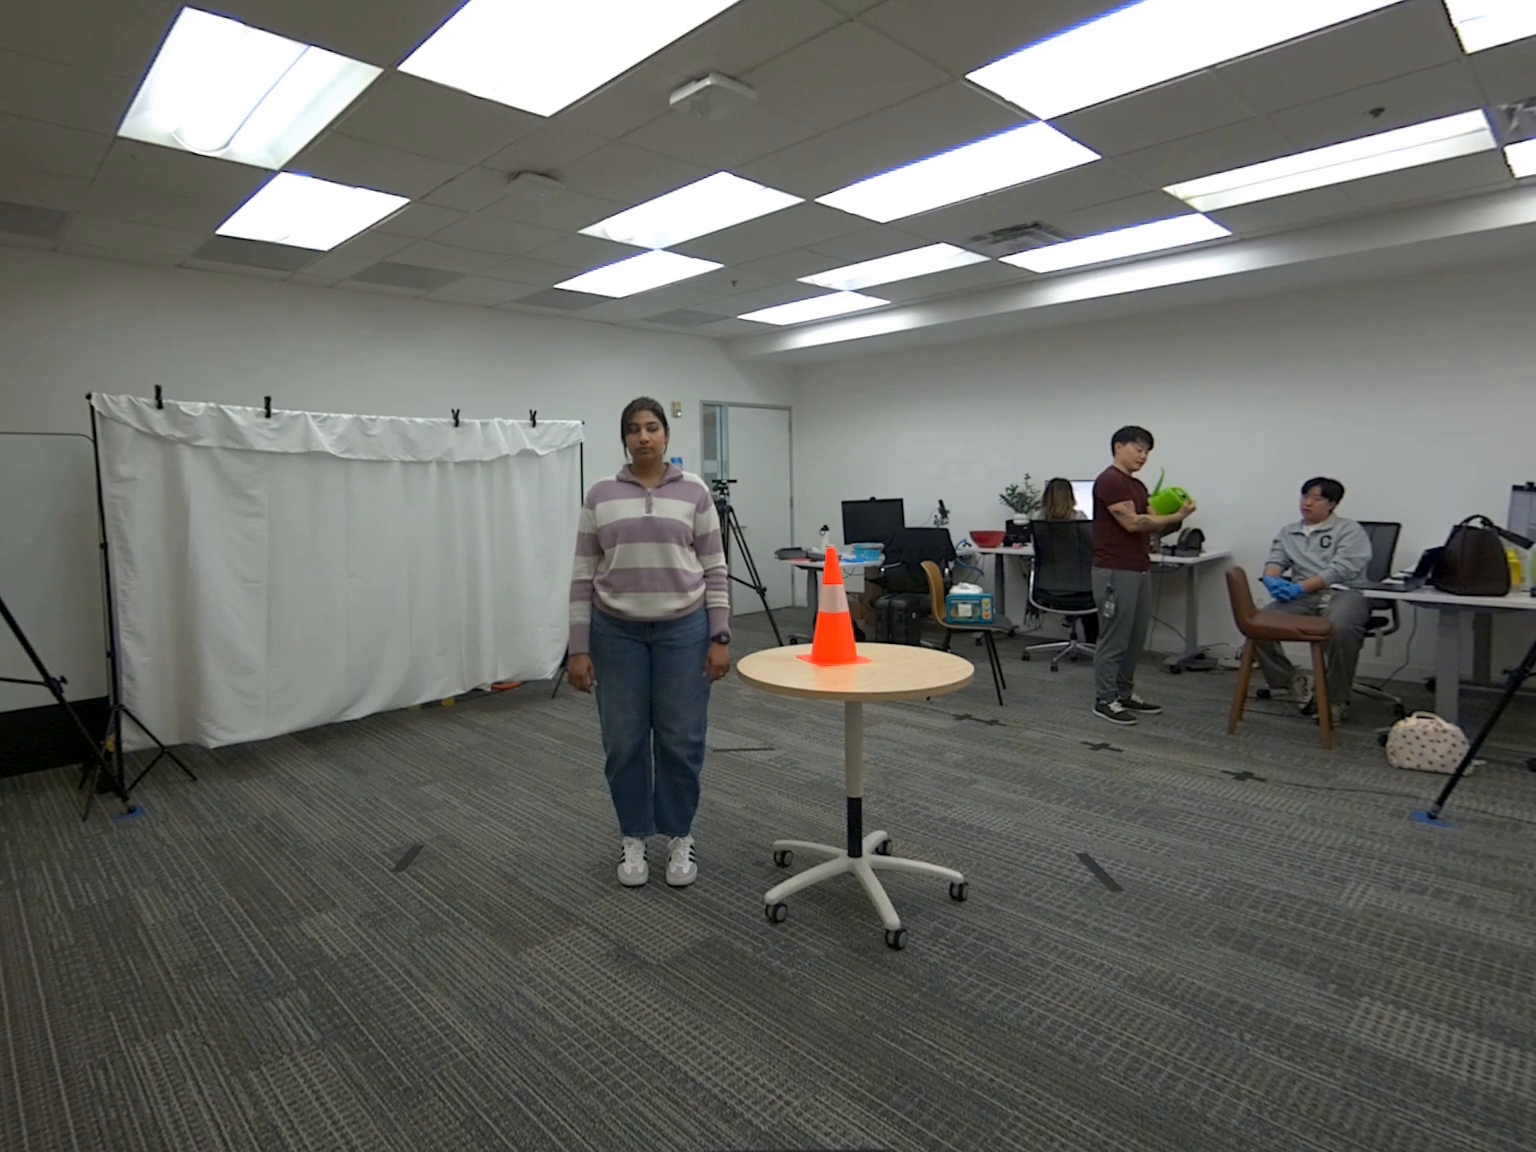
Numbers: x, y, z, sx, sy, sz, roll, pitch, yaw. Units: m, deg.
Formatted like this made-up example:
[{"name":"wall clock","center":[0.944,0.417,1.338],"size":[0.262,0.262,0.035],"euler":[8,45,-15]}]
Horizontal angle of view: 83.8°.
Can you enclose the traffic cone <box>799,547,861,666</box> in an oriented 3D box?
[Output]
[{"name":"traffic cone","center":[0.223,0.095,2.883],"size":[0.201,0.382,0.208],"euler":[-3,6,-20]}]
